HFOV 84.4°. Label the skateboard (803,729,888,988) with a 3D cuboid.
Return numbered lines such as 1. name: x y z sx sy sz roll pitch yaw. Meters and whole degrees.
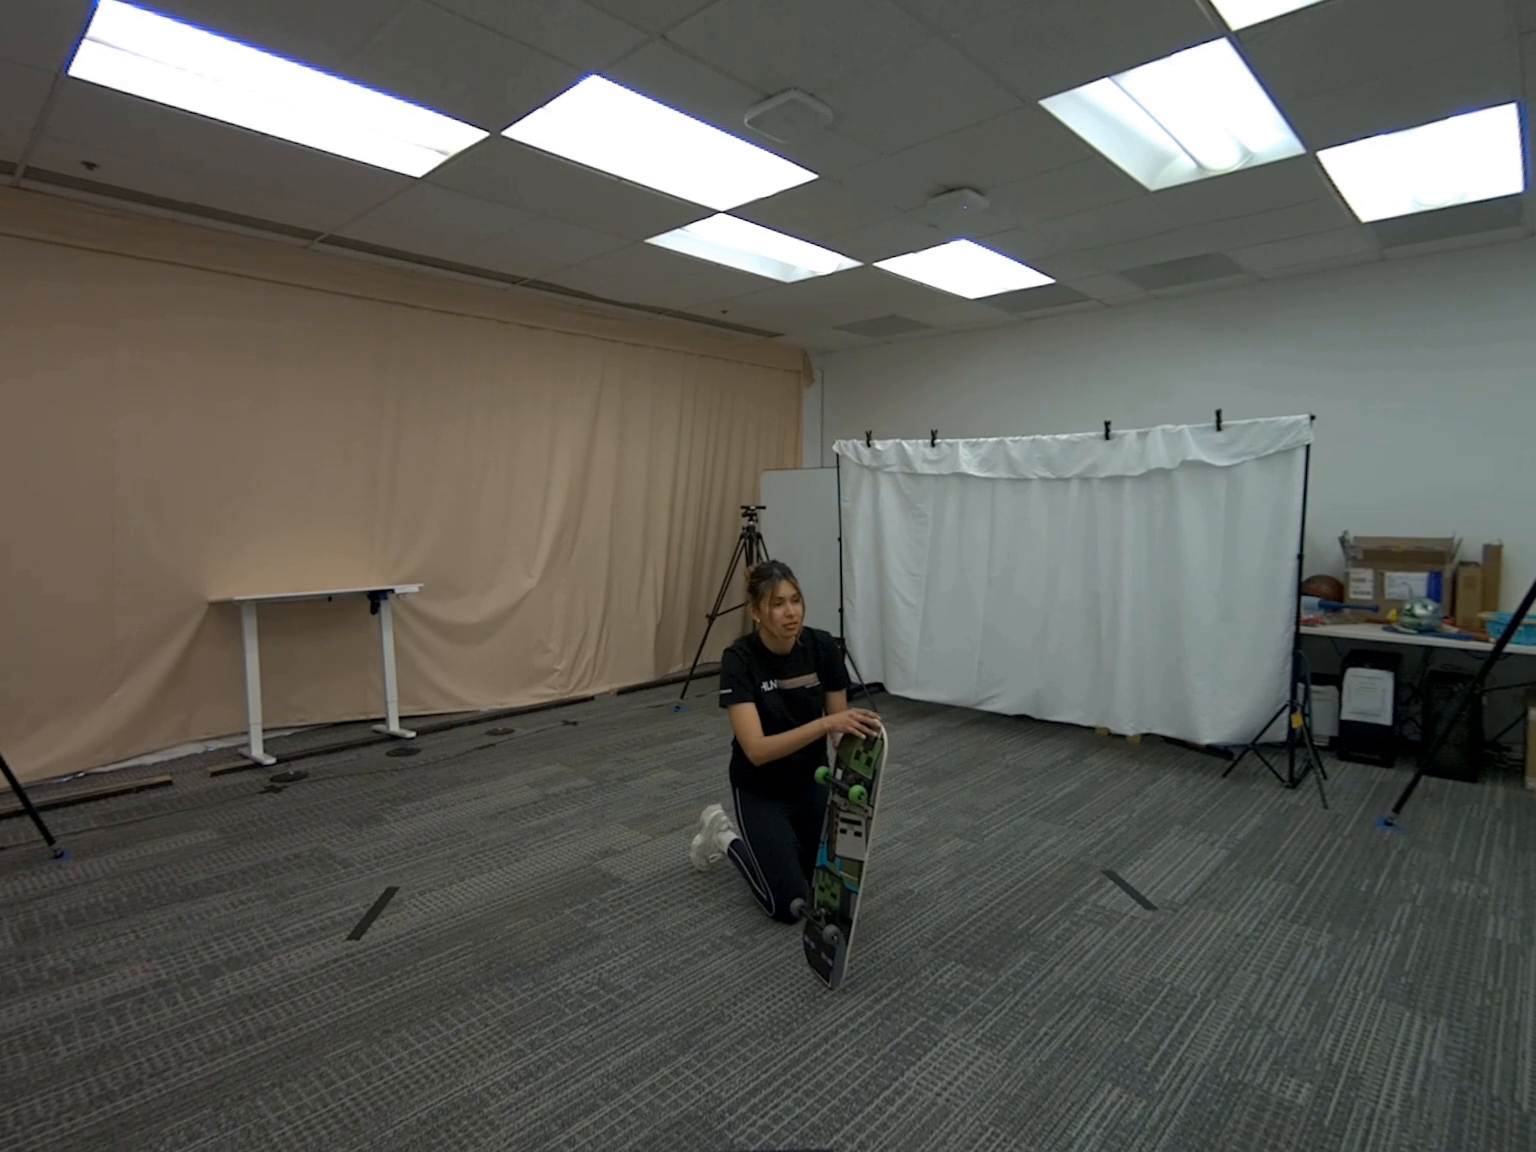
1. skateboard: 0.196 0.794 2.421 0.107 0.785 0.200 9 2 -36
